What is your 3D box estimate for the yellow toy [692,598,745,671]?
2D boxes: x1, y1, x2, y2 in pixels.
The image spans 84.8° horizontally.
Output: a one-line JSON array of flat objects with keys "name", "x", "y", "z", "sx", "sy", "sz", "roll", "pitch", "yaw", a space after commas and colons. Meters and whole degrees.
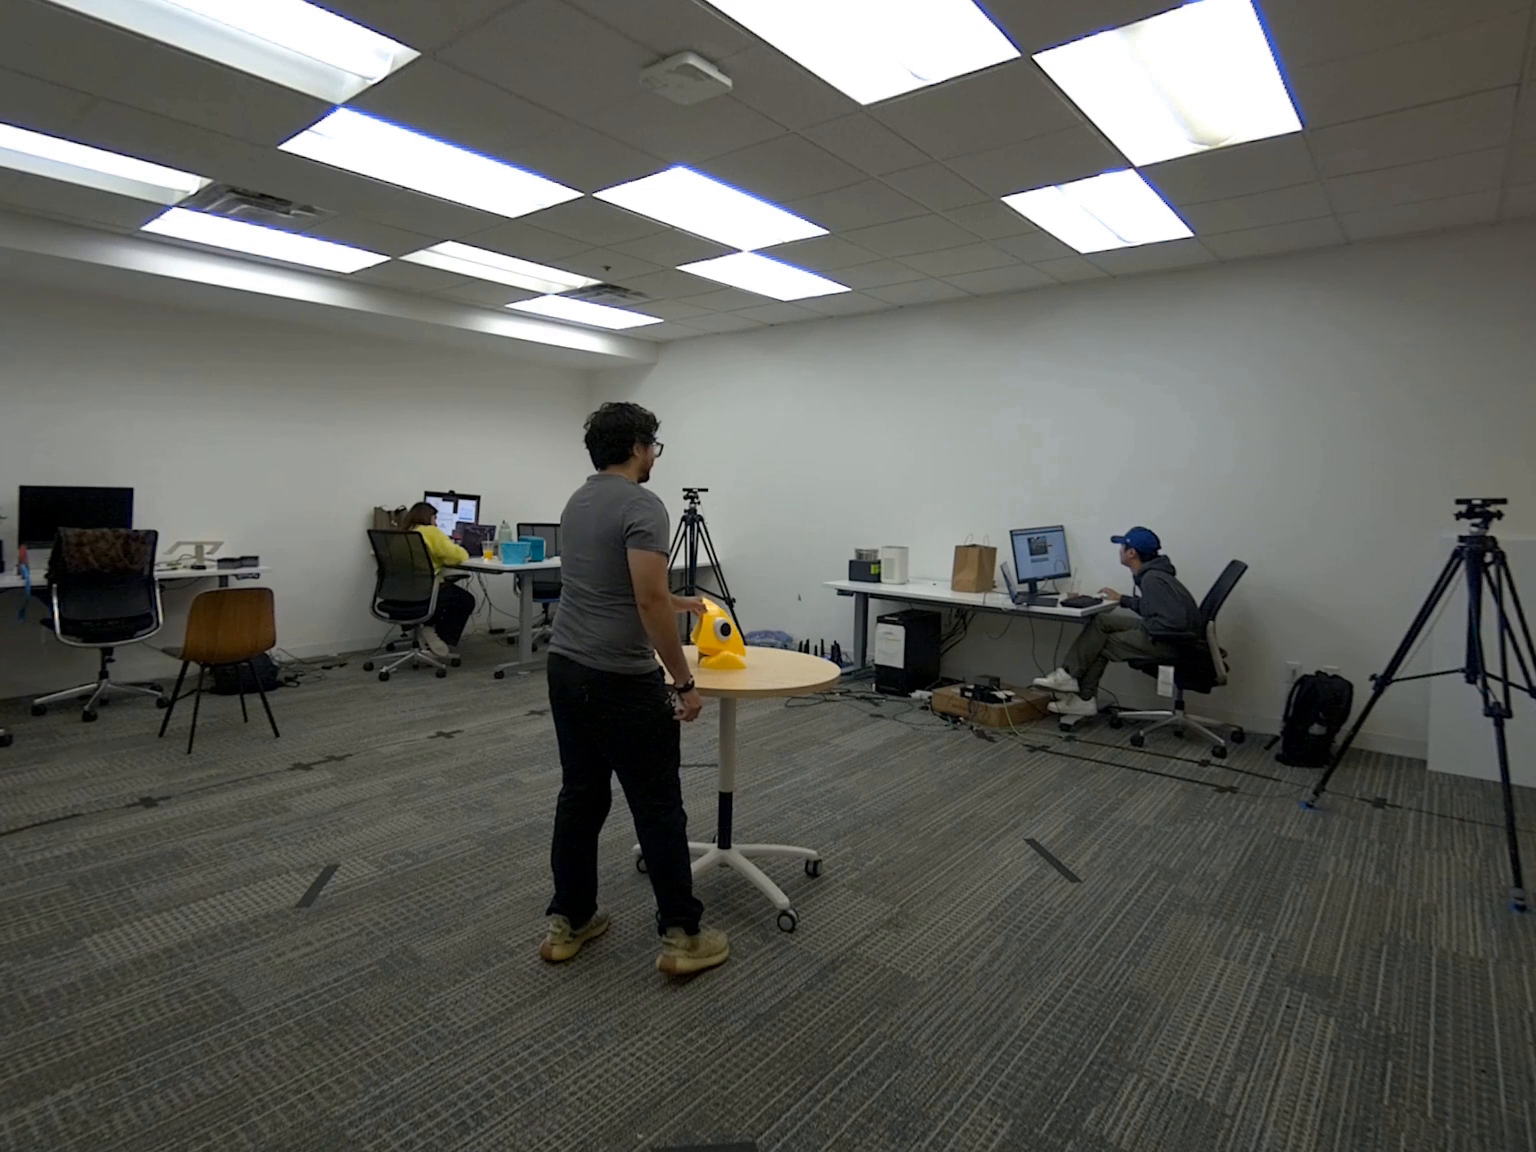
[{"name": "yellow toy", "x": -0.178, "y": 0.186, "z": 2.954, "sx": 0.191, "sy": 0.230, "sz": 0.207, "roll": 0, "pitch": 2, "yaw": -10}]
